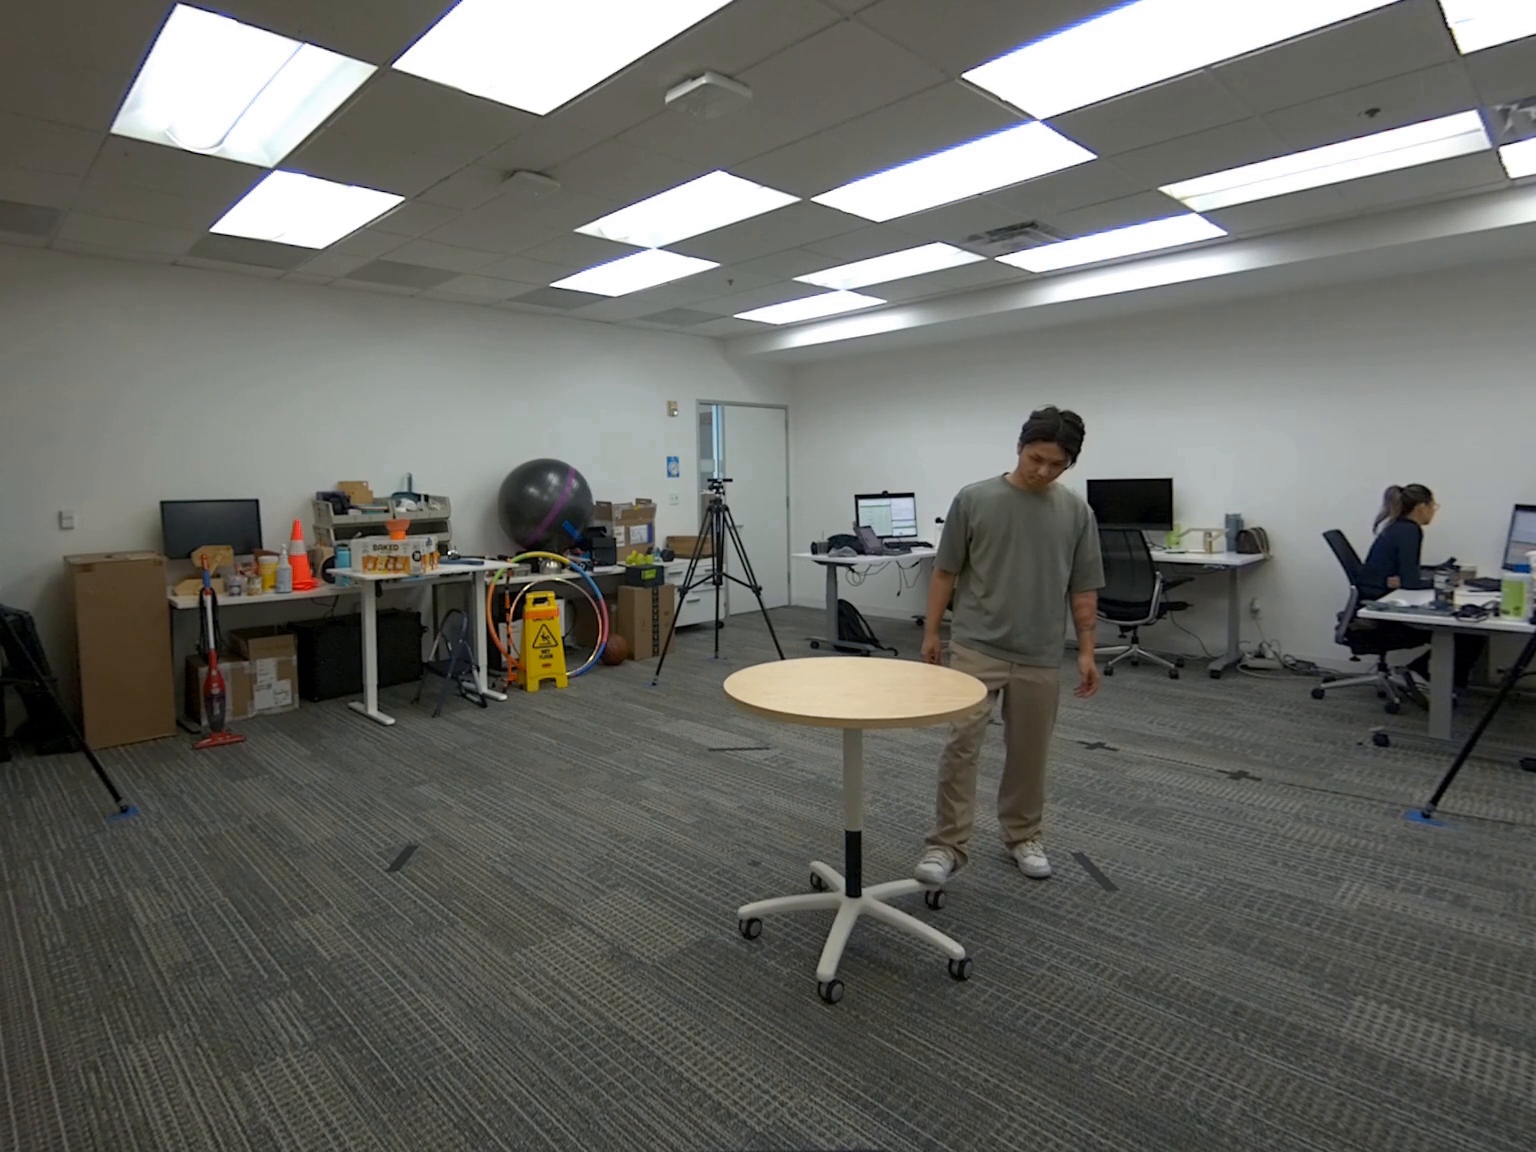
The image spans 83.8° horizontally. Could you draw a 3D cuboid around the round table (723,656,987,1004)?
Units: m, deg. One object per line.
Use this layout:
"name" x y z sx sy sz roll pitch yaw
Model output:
"round table" 0.260 0.706 2.578 0.784 0.783 0.789 -1 5 -2
